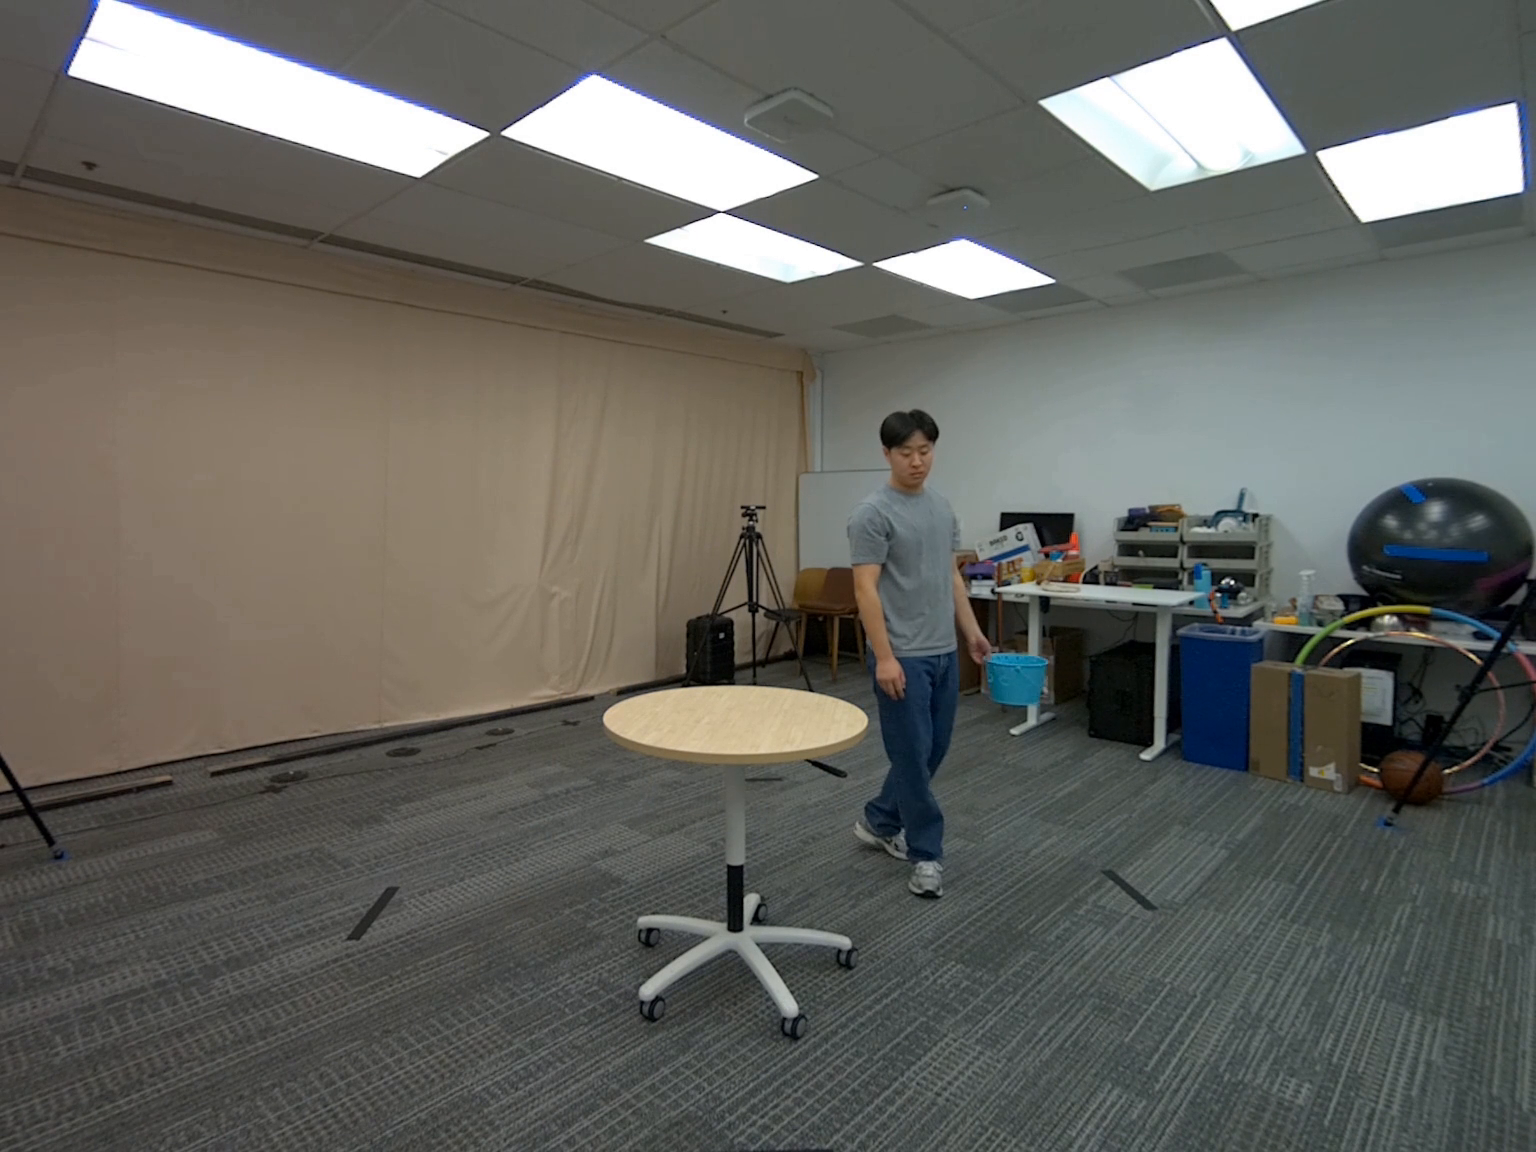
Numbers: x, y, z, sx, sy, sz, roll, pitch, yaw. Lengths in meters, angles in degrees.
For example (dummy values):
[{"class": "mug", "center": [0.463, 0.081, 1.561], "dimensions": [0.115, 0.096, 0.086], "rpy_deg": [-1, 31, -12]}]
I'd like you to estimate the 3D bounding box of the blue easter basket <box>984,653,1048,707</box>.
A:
[{"class": "blue easter basket", "center": [0.943, 0.402, 3.179], "dimensions": [0.243, 0.155, 0.245], "rpy_deg": [0, 6, -2]}]
